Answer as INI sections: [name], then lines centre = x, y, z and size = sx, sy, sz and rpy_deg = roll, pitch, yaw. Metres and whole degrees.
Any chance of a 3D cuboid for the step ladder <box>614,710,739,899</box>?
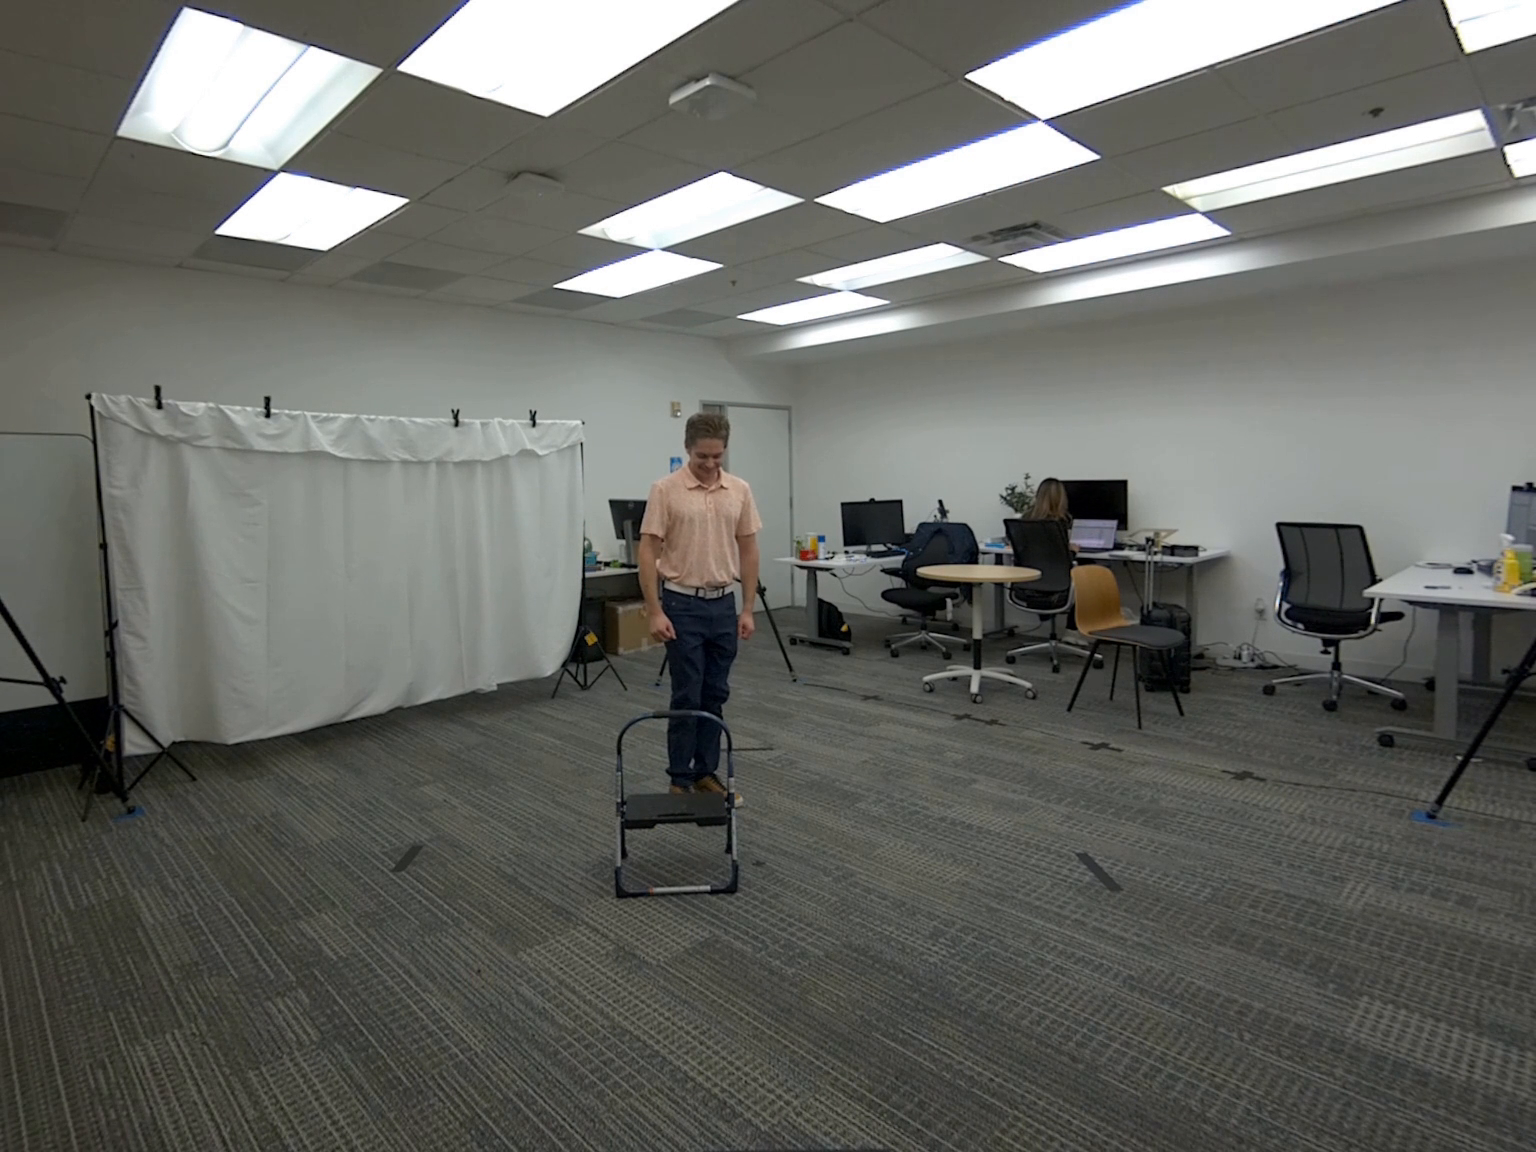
[step ladder]
centre = -0.333, 0.762, 3.026
size = 0.429, 0.603, 0.352
rpy_deg = -2, 5, -5
